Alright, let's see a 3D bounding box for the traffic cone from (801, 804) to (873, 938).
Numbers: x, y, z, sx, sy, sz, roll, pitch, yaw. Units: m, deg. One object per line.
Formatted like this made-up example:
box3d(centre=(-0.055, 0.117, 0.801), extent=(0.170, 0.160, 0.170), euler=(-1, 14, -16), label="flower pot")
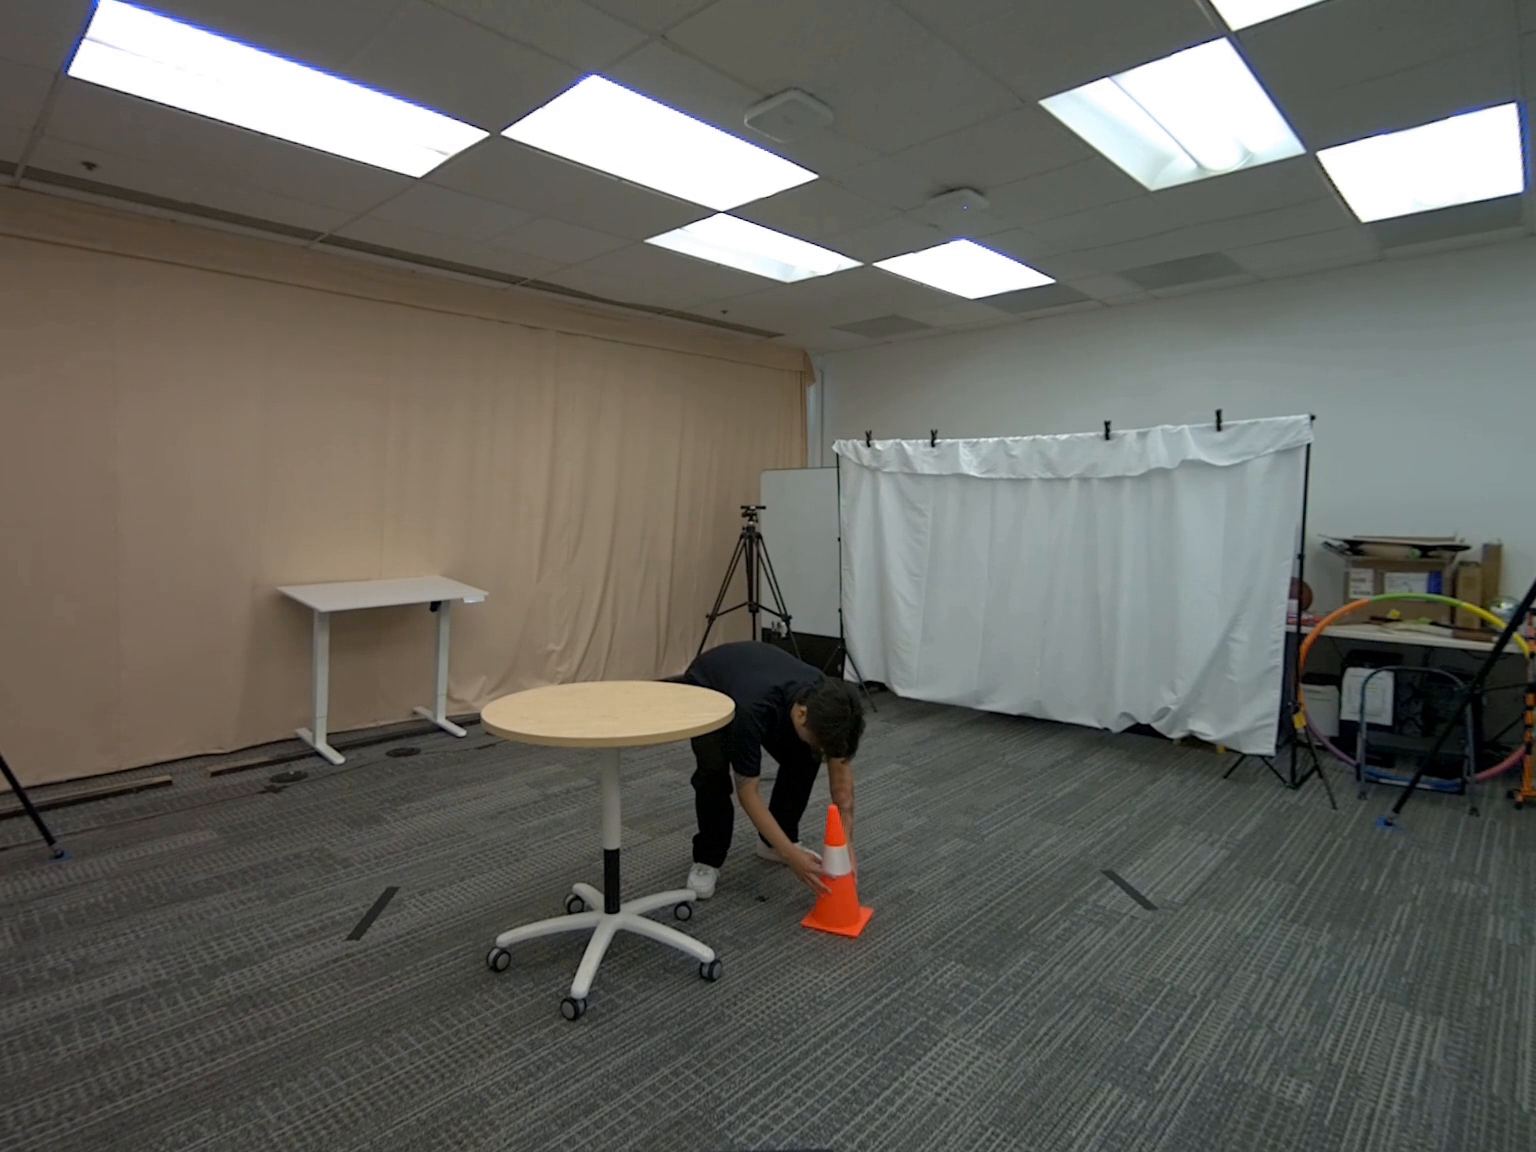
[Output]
box3d(centre=(0.222, 0.963, 2.822), extent=(0.210, 0.383, 0.199), euler=(-2, 2, 25), label="traffic cone")
